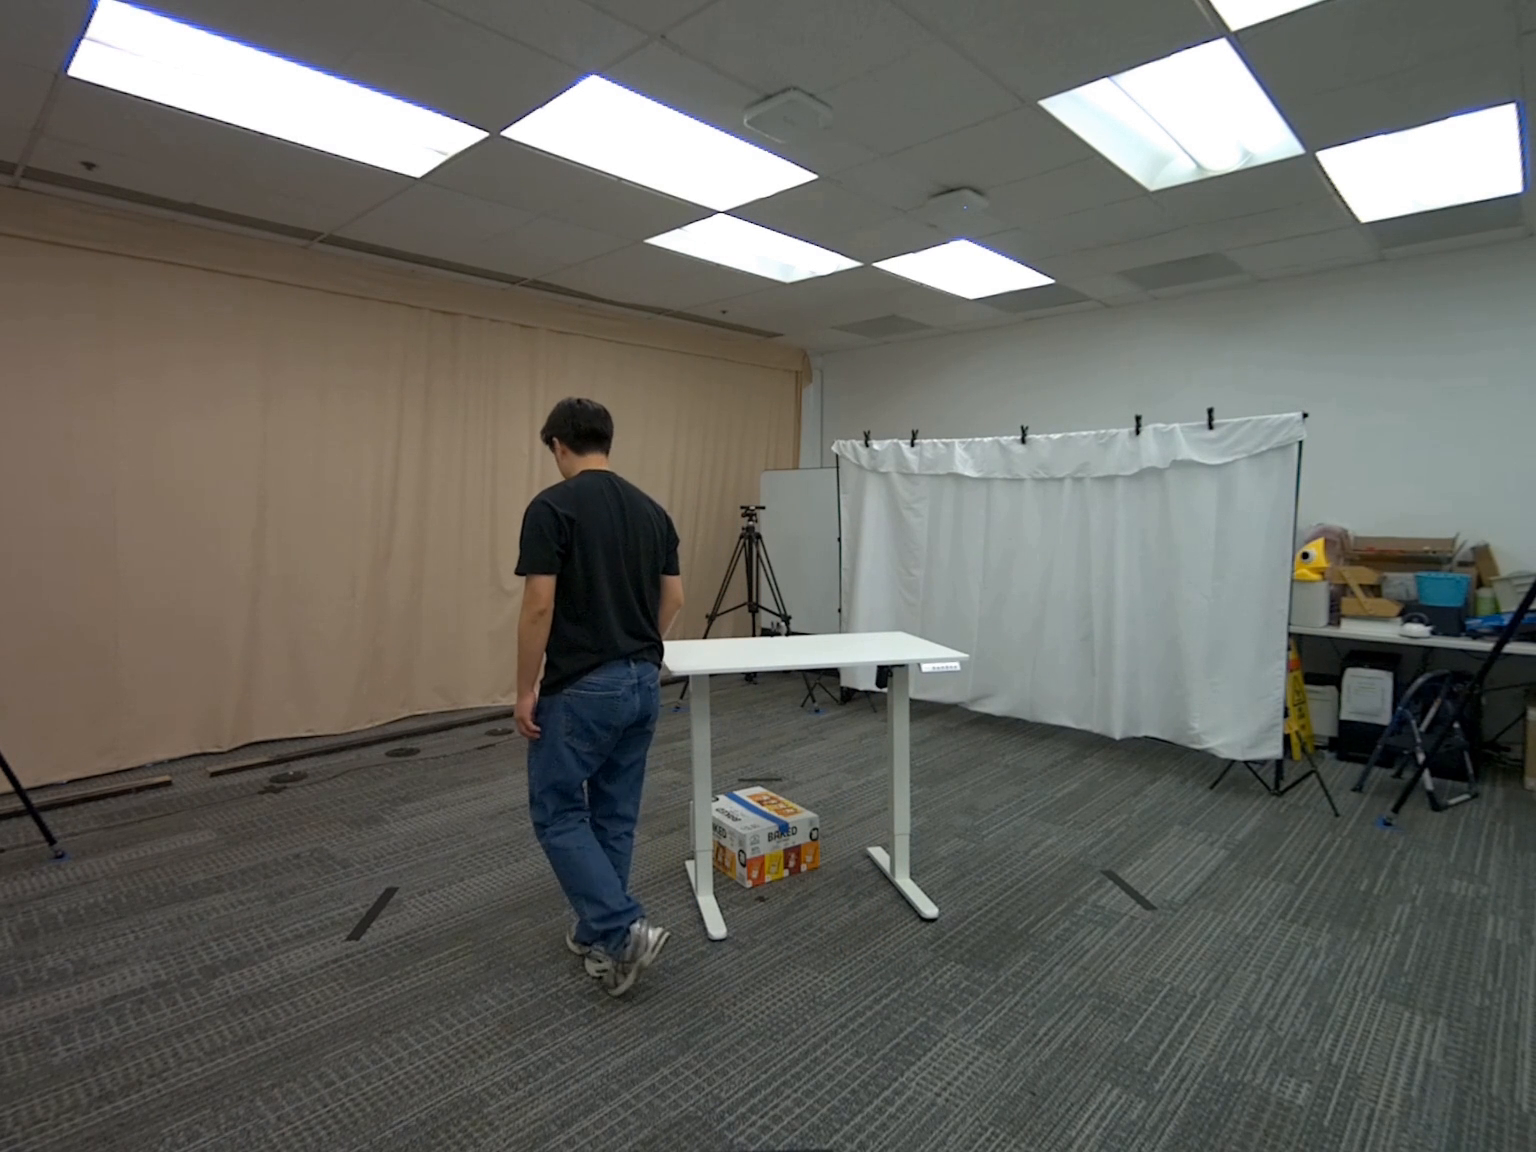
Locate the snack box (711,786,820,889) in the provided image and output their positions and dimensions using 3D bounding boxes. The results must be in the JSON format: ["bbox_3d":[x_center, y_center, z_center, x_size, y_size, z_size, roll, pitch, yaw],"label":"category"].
[{"bbox_3d":[-0.058,1.015,3.312,0.331,0.205,0.418,-3,6,-33],"label":"snack box"}]
